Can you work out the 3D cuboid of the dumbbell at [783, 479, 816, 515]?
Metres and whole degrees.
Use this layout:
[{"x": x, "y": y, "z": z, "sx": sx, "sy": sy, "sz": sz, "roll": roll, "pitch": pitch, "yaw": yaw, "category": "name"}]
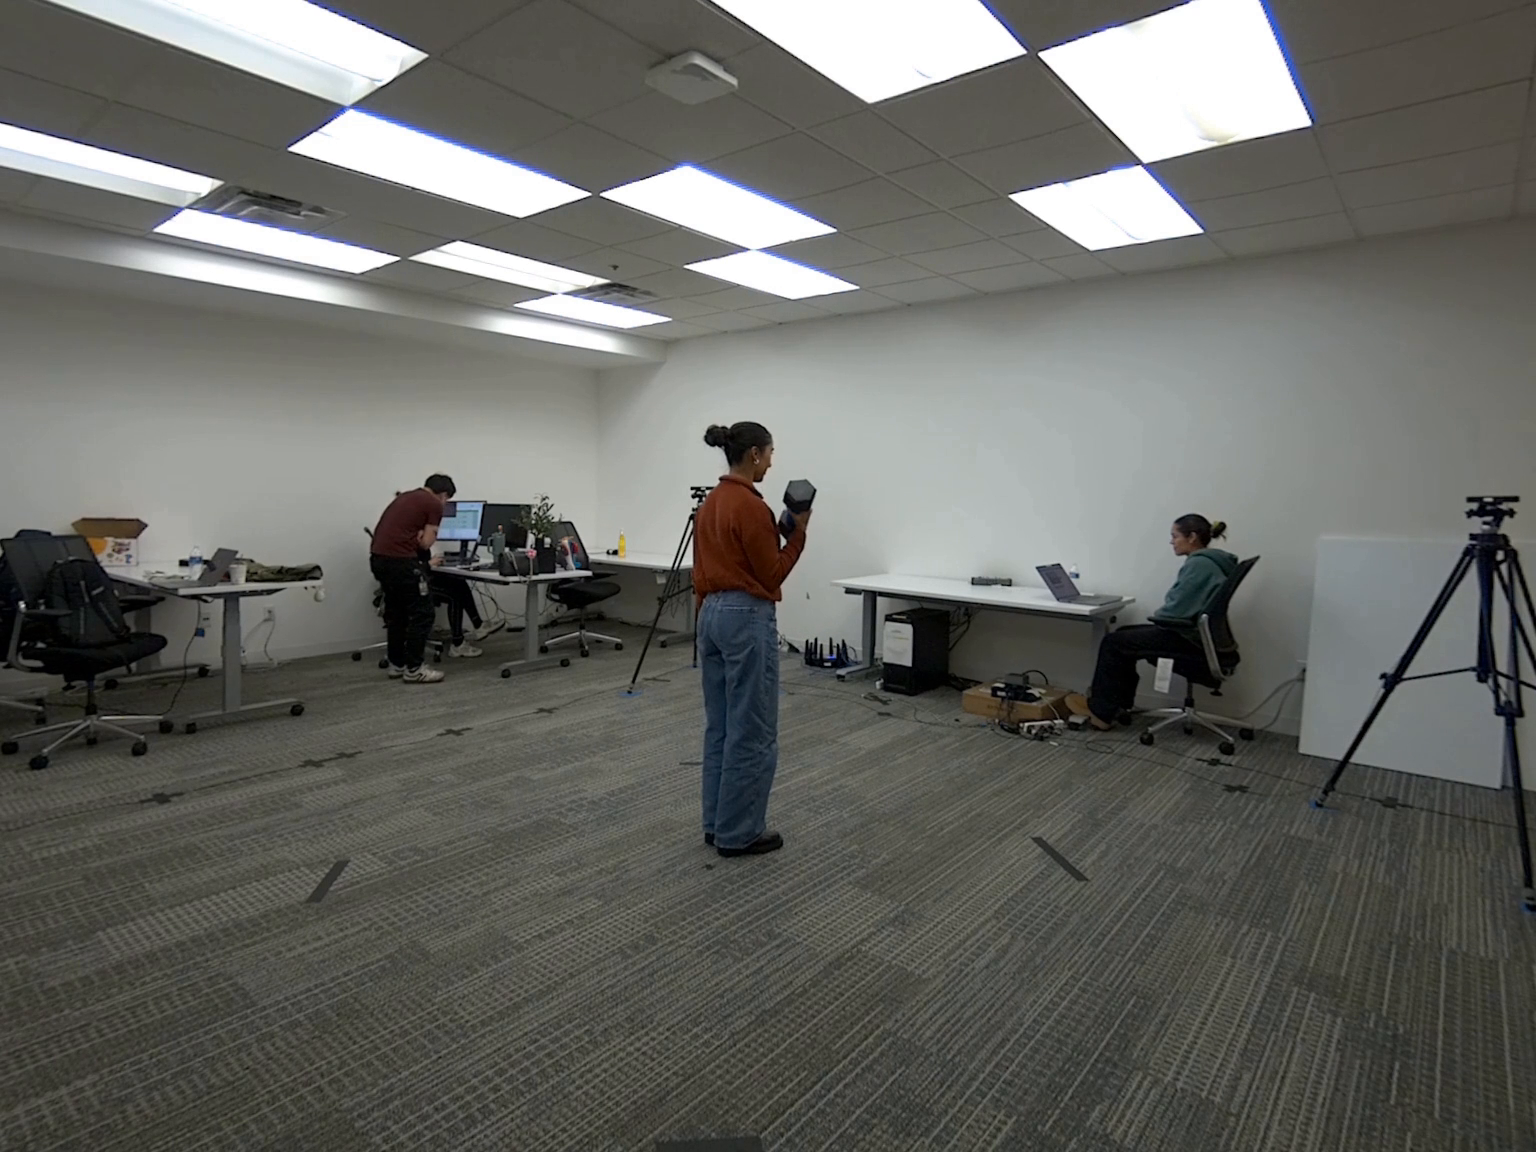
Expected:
[{"x": 0.097, "y": -0.245, "z": 3.218, "sx": 0.110, "sy": 0.124, "sz": 0.288, "roll": 24, "pitch": -27, "yaw": 6, "category": "dumbbell"}]
